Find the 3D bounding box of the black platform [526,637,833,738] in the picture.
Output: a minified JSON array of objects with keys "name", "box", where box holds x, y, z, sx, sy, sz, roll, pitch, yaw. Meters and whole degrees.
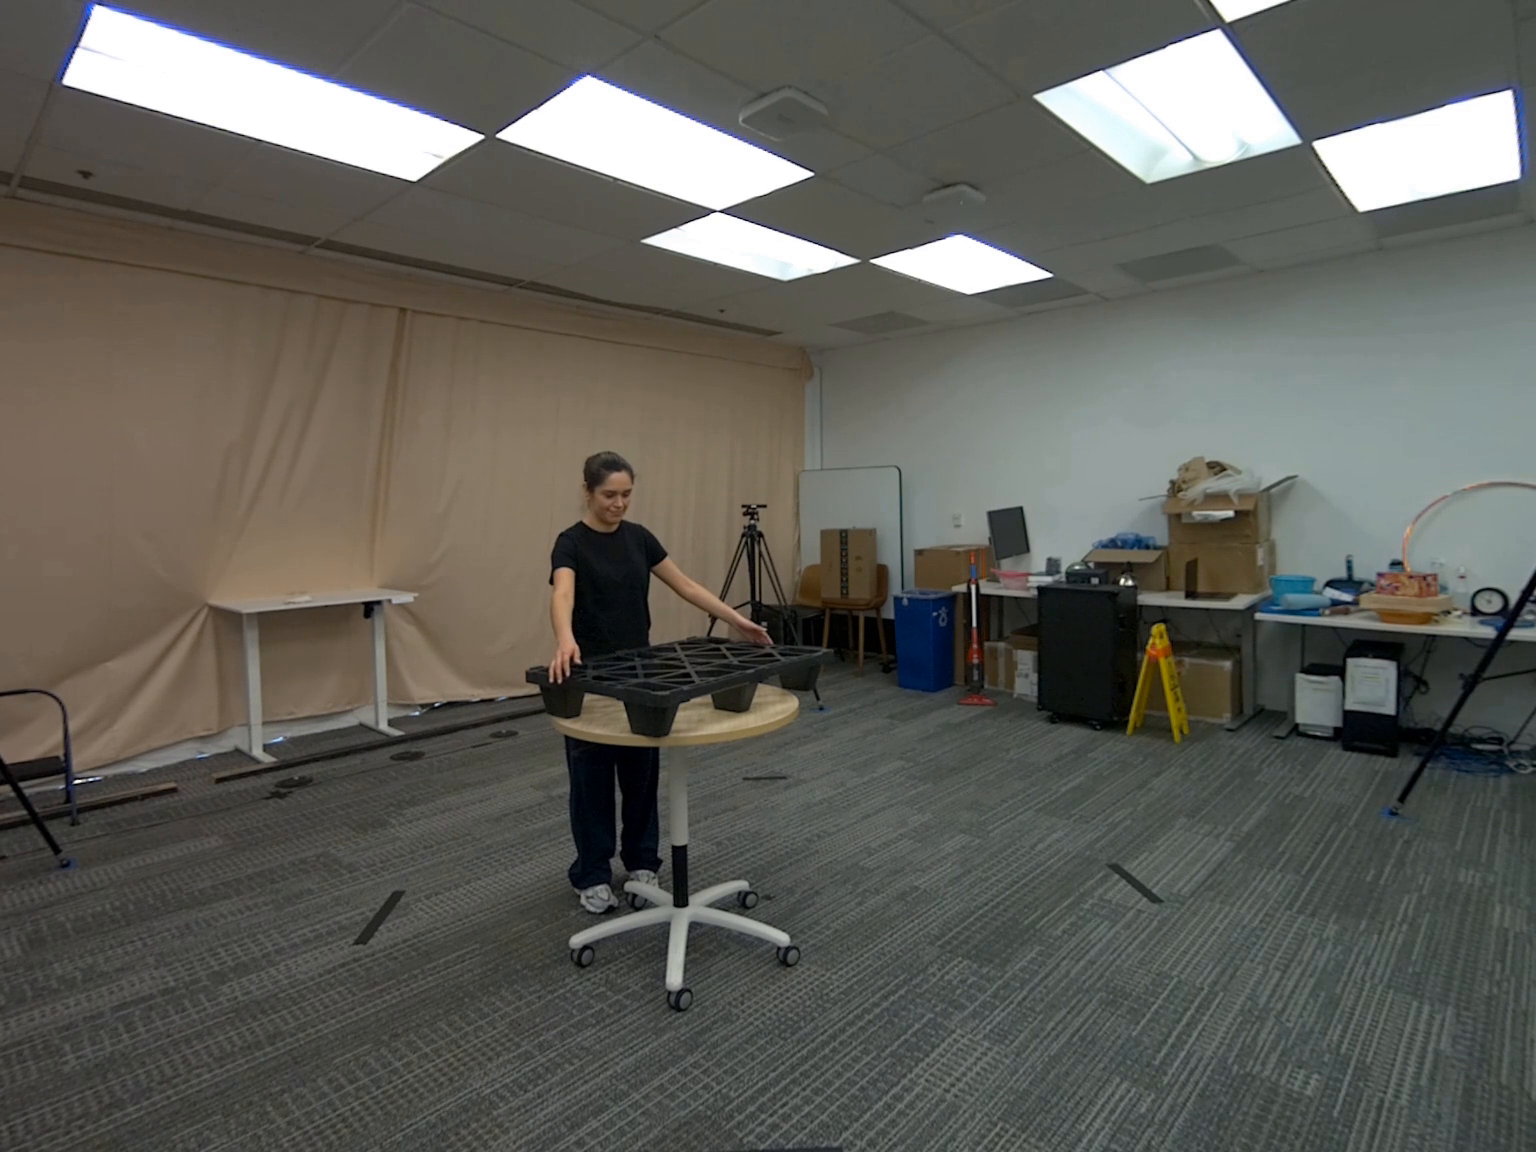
[{"name":"black platform","box":[-0.240,0.328,2.633,0.625,0.143,0.782,2,5,39]}]
